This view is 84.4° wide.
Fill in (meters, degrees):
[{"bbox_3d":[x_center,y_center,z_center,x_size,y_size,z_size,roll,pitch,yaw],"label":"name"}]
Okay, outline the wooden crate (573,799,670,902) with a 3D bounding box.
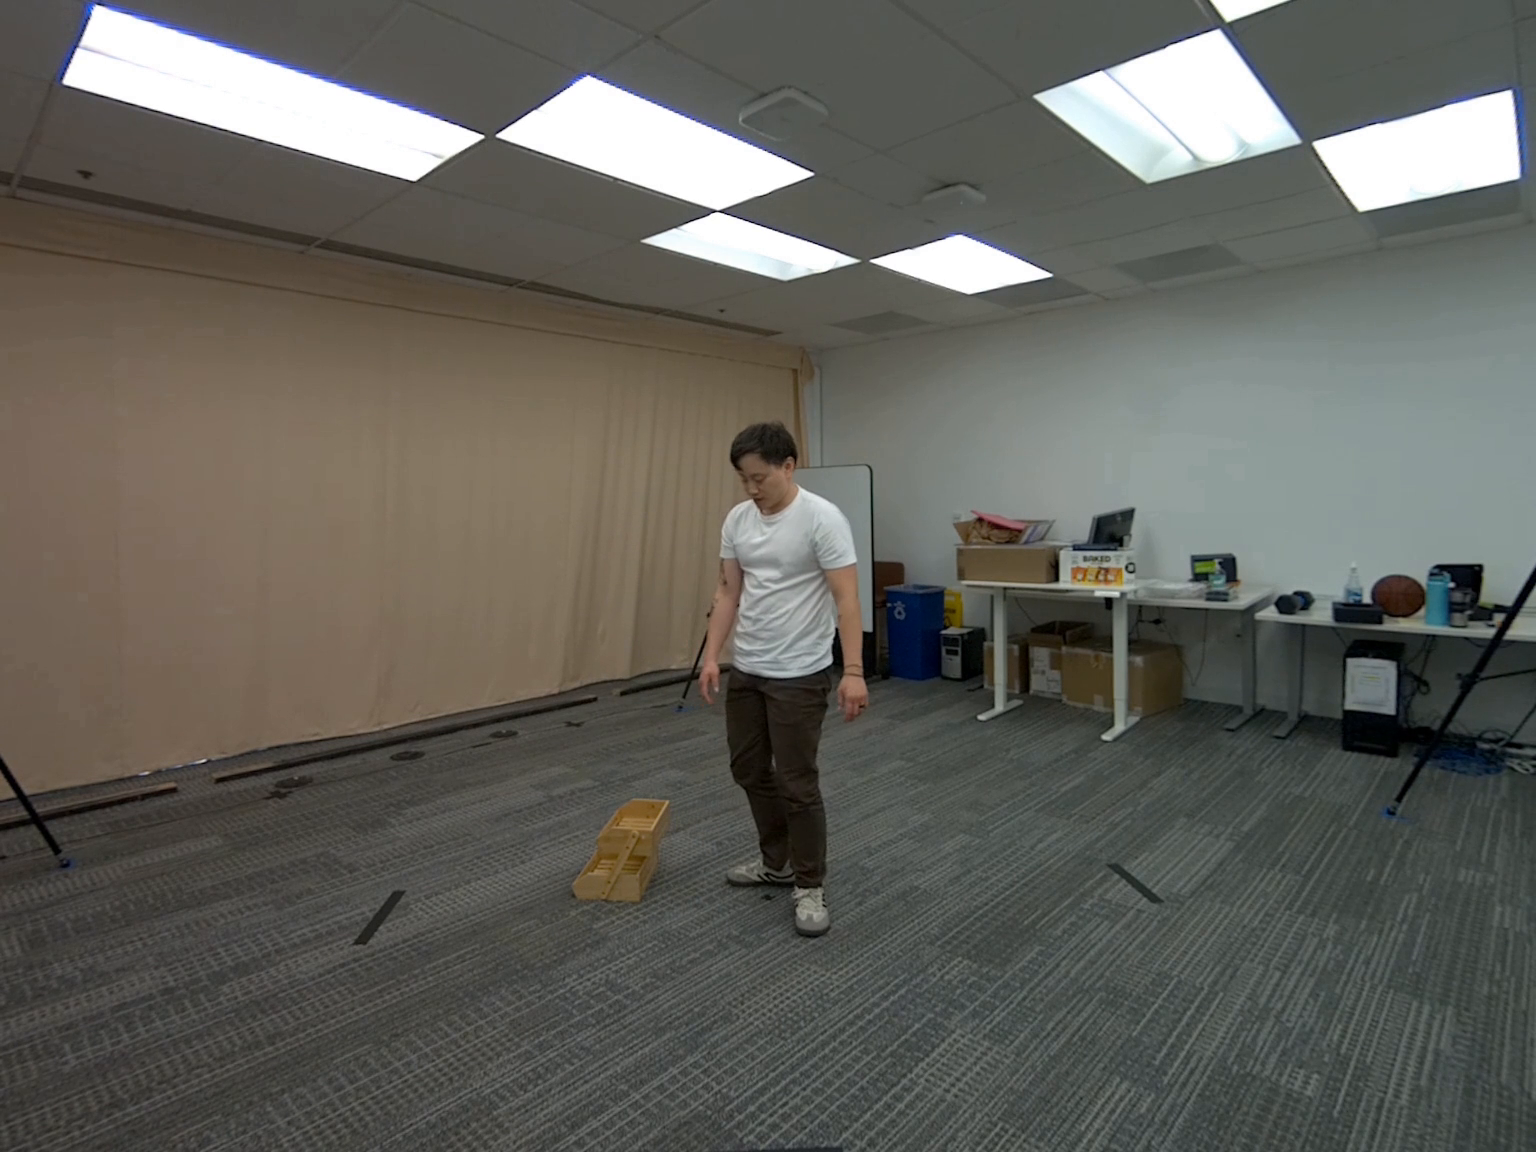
[{"bbox_3d":[-0.546,1.011,3.128,0.304,0.273,0.323,-1,4,6],"label":"wooden crate"}]
